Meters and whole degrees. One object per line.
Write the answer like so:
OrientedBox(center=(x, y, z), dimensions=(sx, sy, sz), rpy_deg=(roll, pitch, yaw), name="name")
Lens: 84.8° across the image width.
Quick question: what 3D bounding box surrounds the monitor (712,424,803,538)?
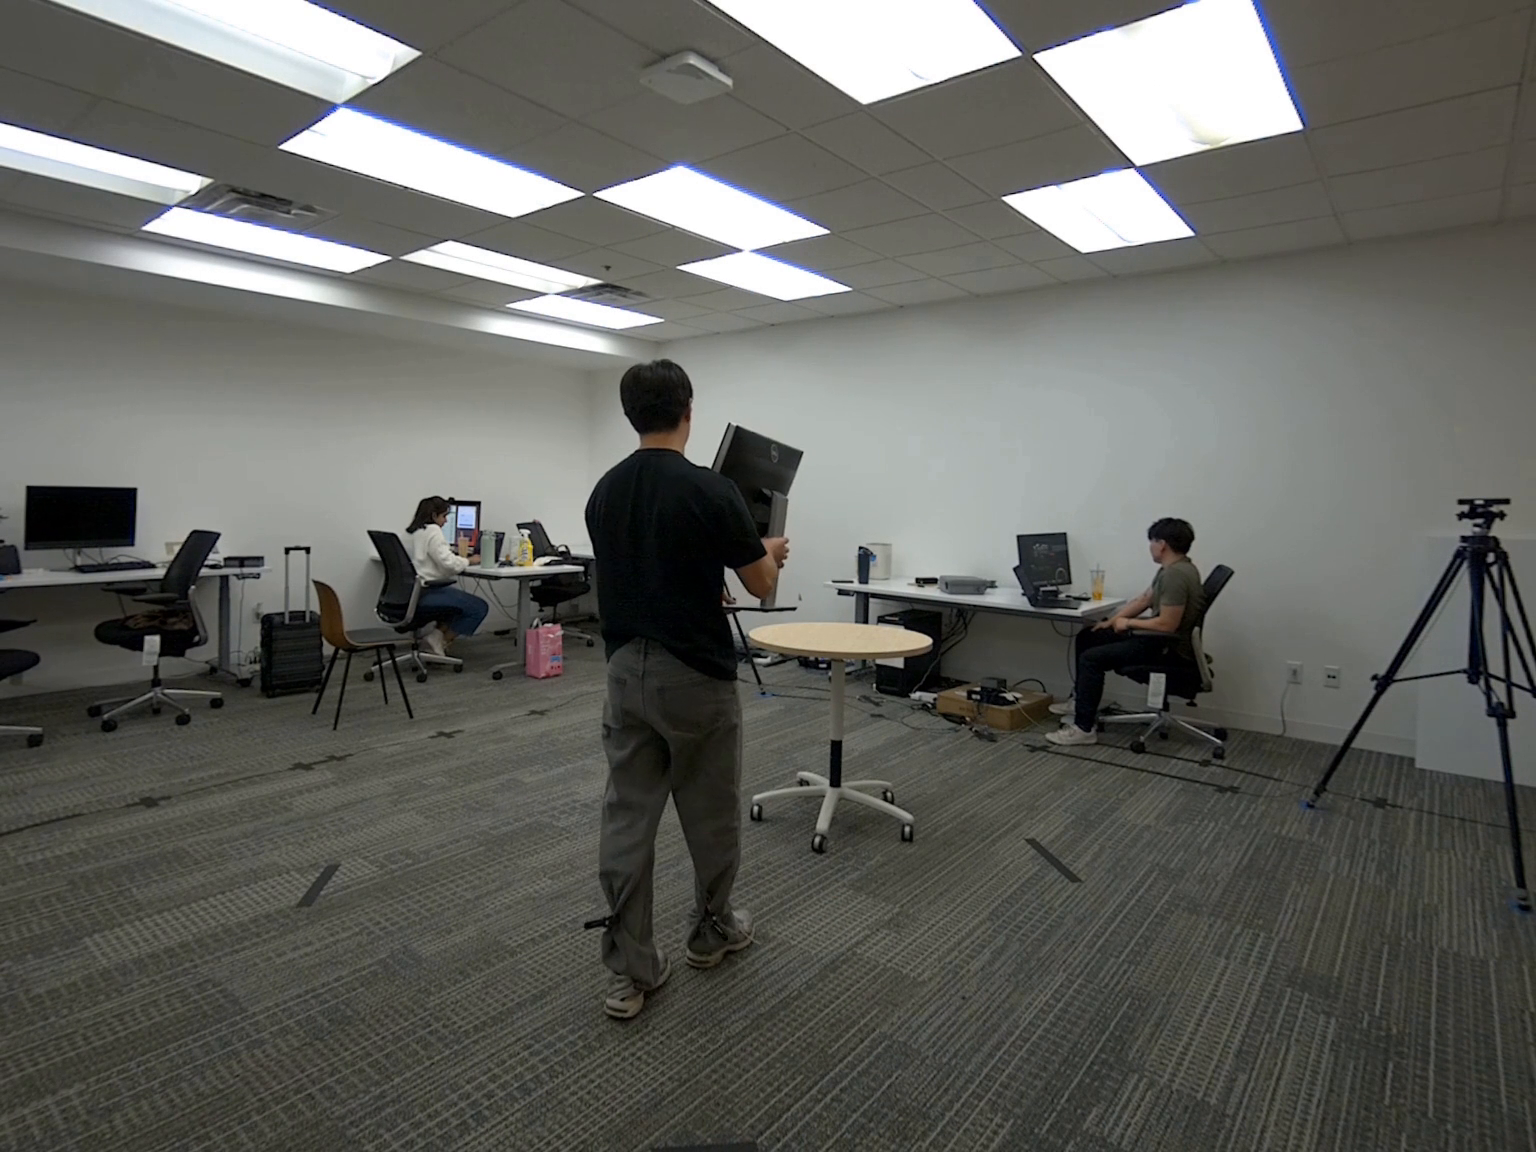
OrientedBox(center=(-0.049, -0.162, 2.687), dimensions=(0.228, 0.567, 0.545), rpy_deg=(4, -1, 27), name="monitor")
